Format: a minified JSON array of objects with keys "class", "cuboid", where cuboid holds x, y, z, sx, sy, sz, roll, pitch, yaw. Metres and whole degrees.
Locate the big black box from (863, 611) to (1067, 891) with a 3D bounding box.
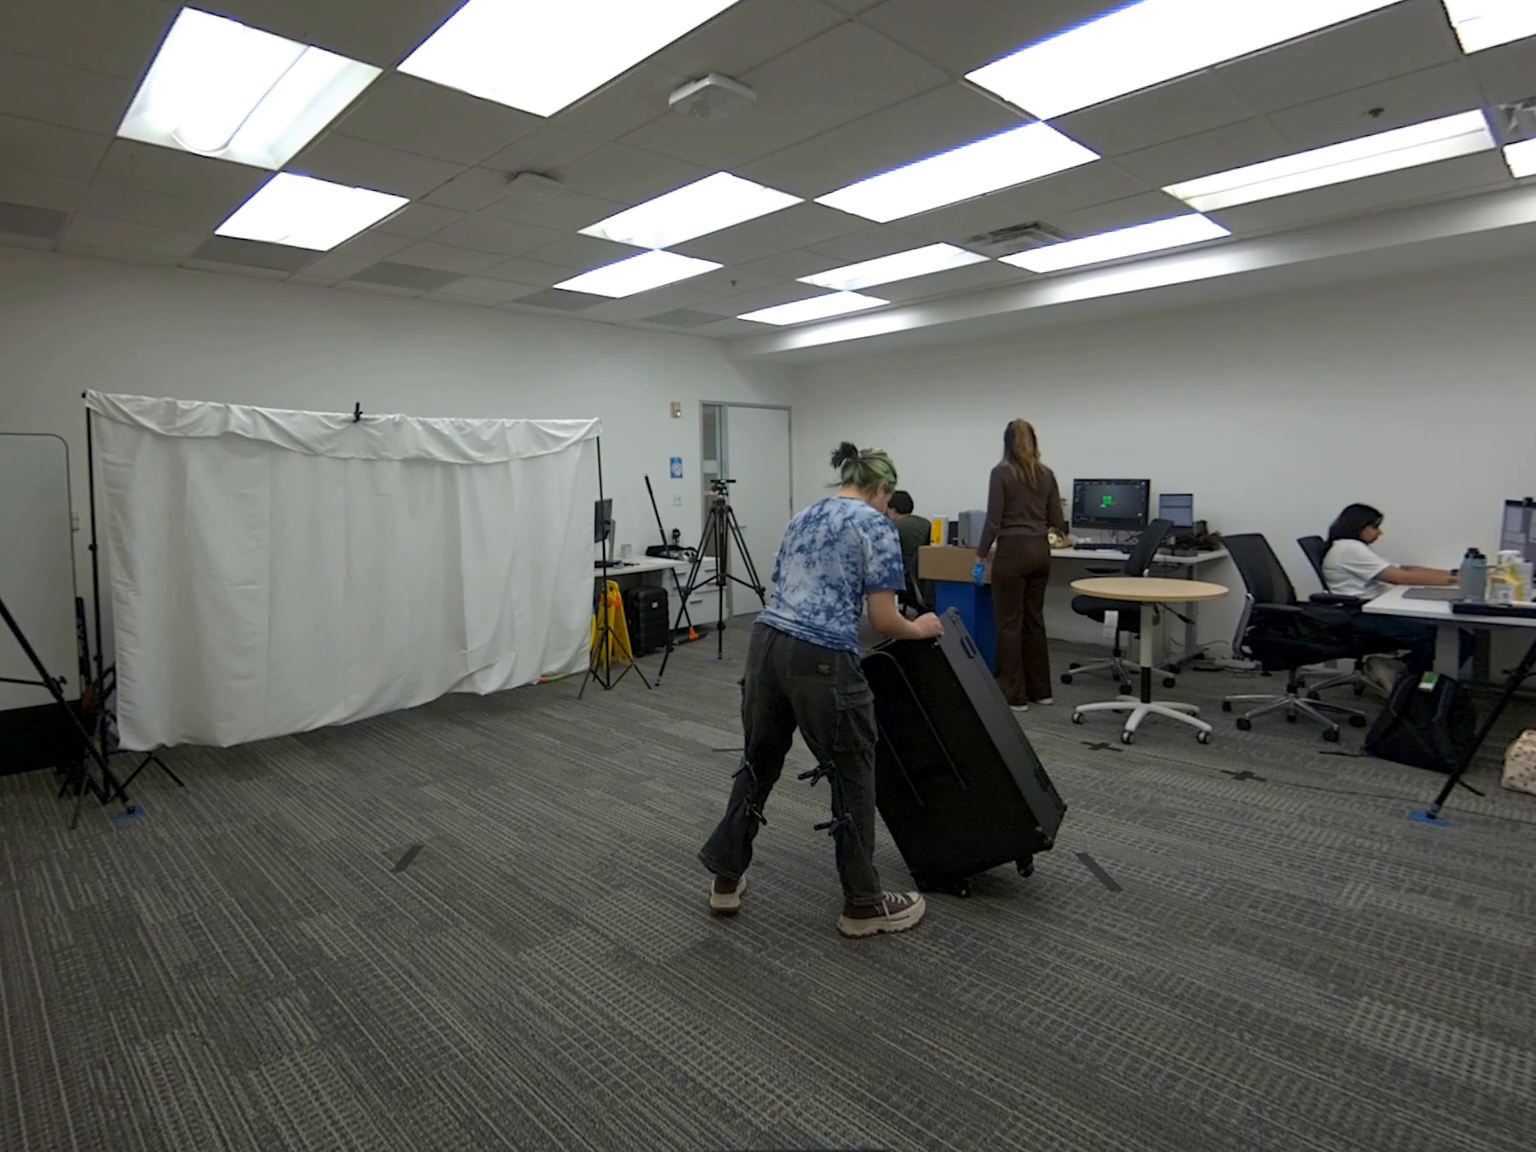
[{"class":"big black box","cuboid":[0.609,0.619,2.971,0.525,0.872,0.388,-32,-10,27]}]
